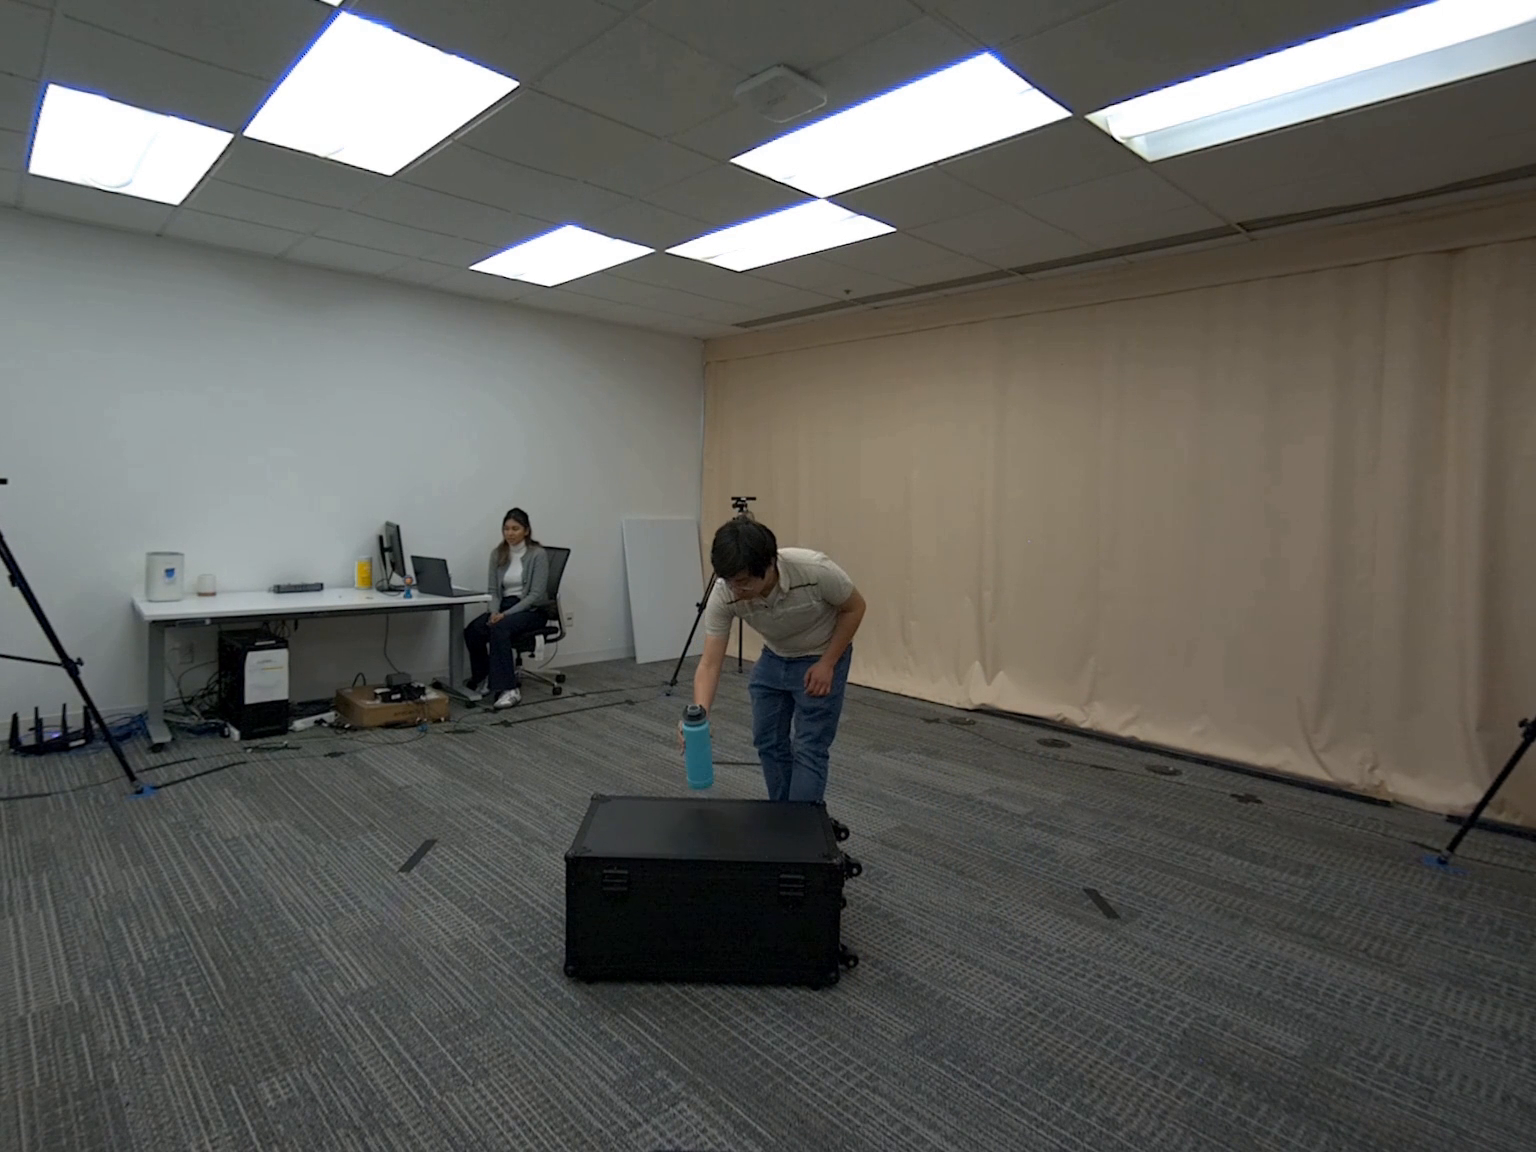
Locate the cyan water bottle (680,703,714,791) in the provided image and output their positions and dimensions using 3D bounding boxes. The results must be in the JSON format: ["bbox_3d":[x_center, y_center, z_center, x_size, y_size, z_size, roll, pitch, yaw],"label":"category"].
[{"bbox_3d":[-0.244,0.546,2.742,0.092,0.280,0.093,-3,13,-1],"label":"cyan water bottle"}]
